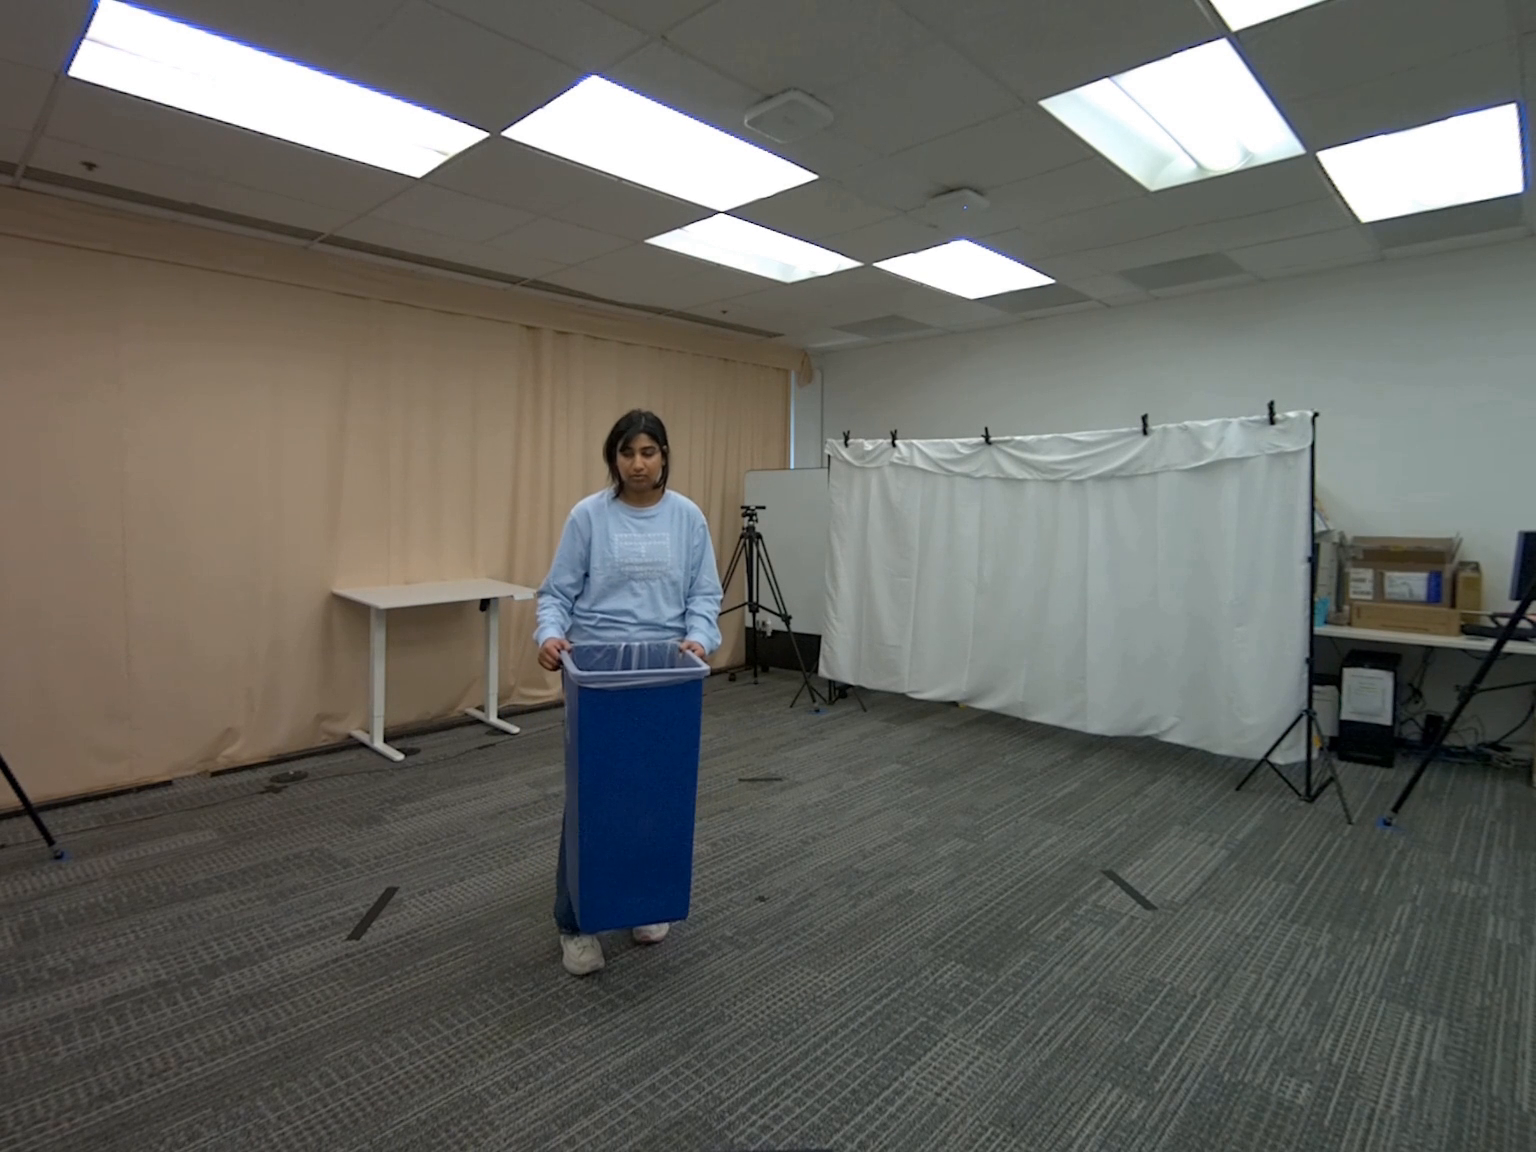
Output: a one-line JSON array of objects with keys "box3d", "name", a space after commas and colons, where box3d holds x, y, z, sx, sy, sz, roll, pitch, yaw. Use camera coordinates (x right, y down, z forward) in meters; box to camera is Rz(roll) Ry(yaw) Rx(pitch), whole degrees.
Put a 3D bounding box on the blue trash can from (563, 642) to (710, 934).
[{"box3d": [-0.402, 0.580, 2.368, 0.371, 0.711, 0.382, 0, 6, -18], "name": "blue trash can"}]
